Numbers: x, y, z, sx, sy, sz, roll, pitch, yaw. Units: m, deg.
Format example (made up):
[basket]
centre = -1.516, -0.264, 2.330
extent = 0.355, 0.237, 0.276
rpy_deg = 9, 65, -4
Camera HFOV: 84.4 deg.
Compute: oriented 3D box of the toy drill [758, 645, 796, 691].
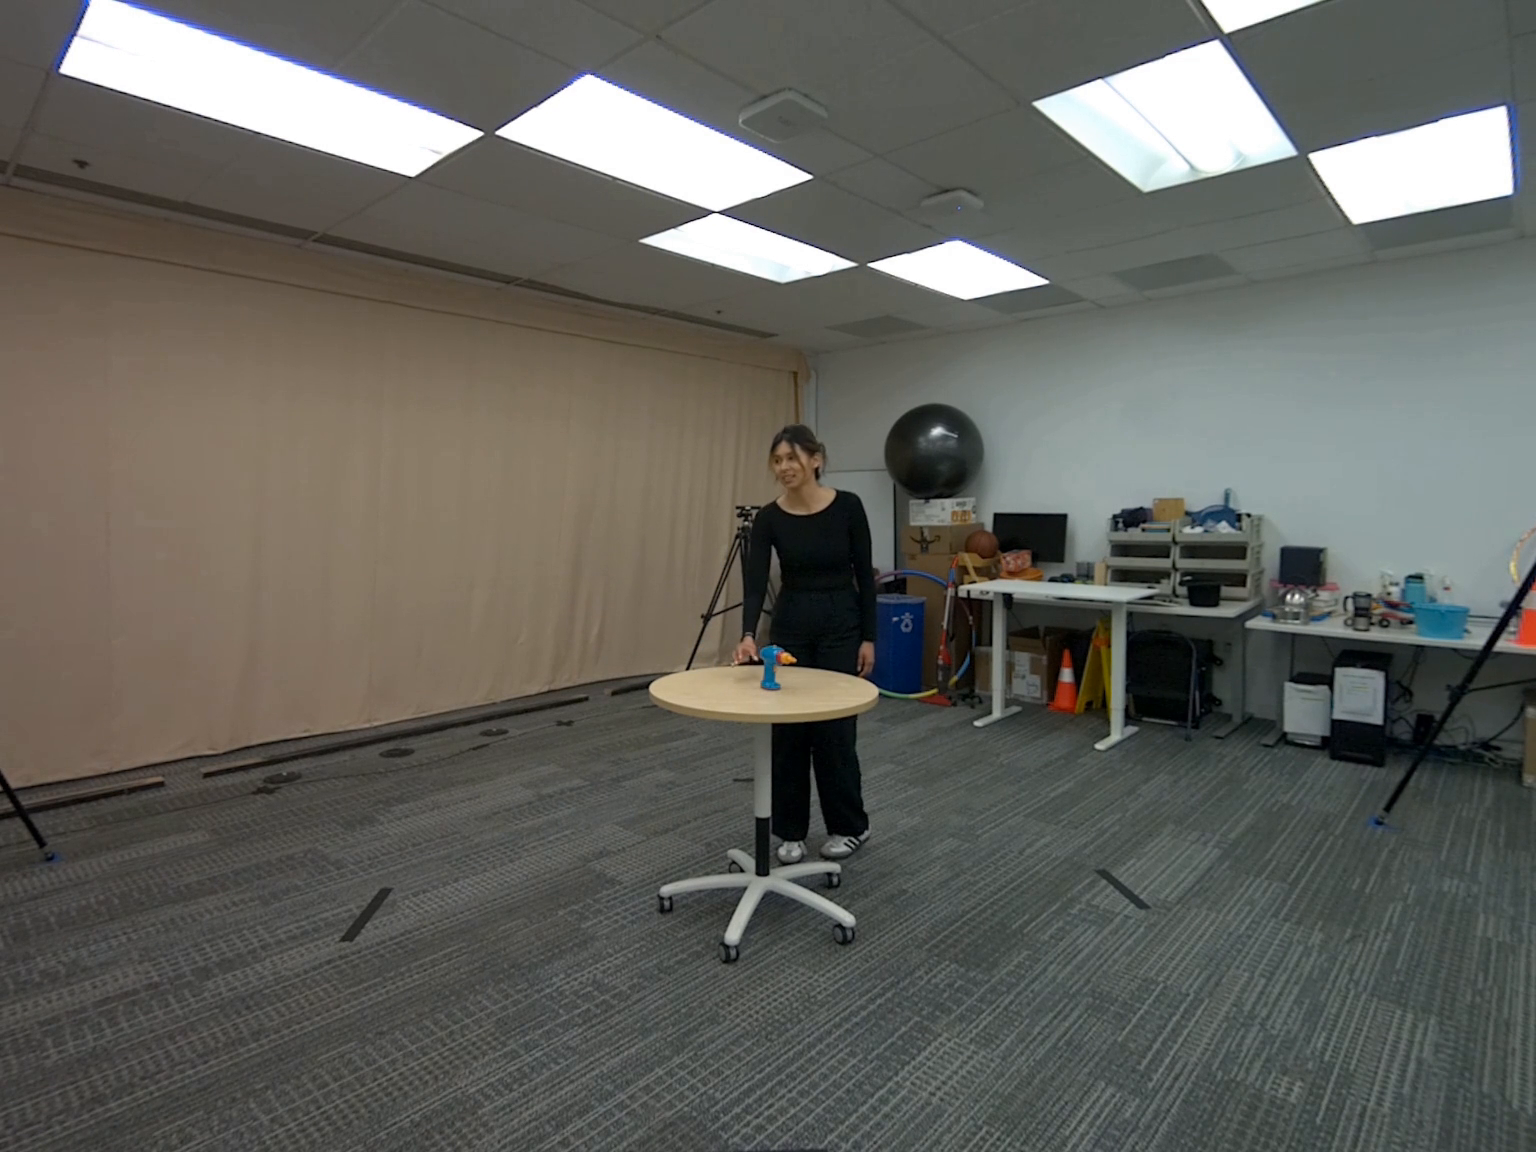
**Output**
[toy drill]
centre = 0.042, 0.303, 2.773
extent = 0.059, 0.146, 0.175
rpy_deg = 0, 3, -43
